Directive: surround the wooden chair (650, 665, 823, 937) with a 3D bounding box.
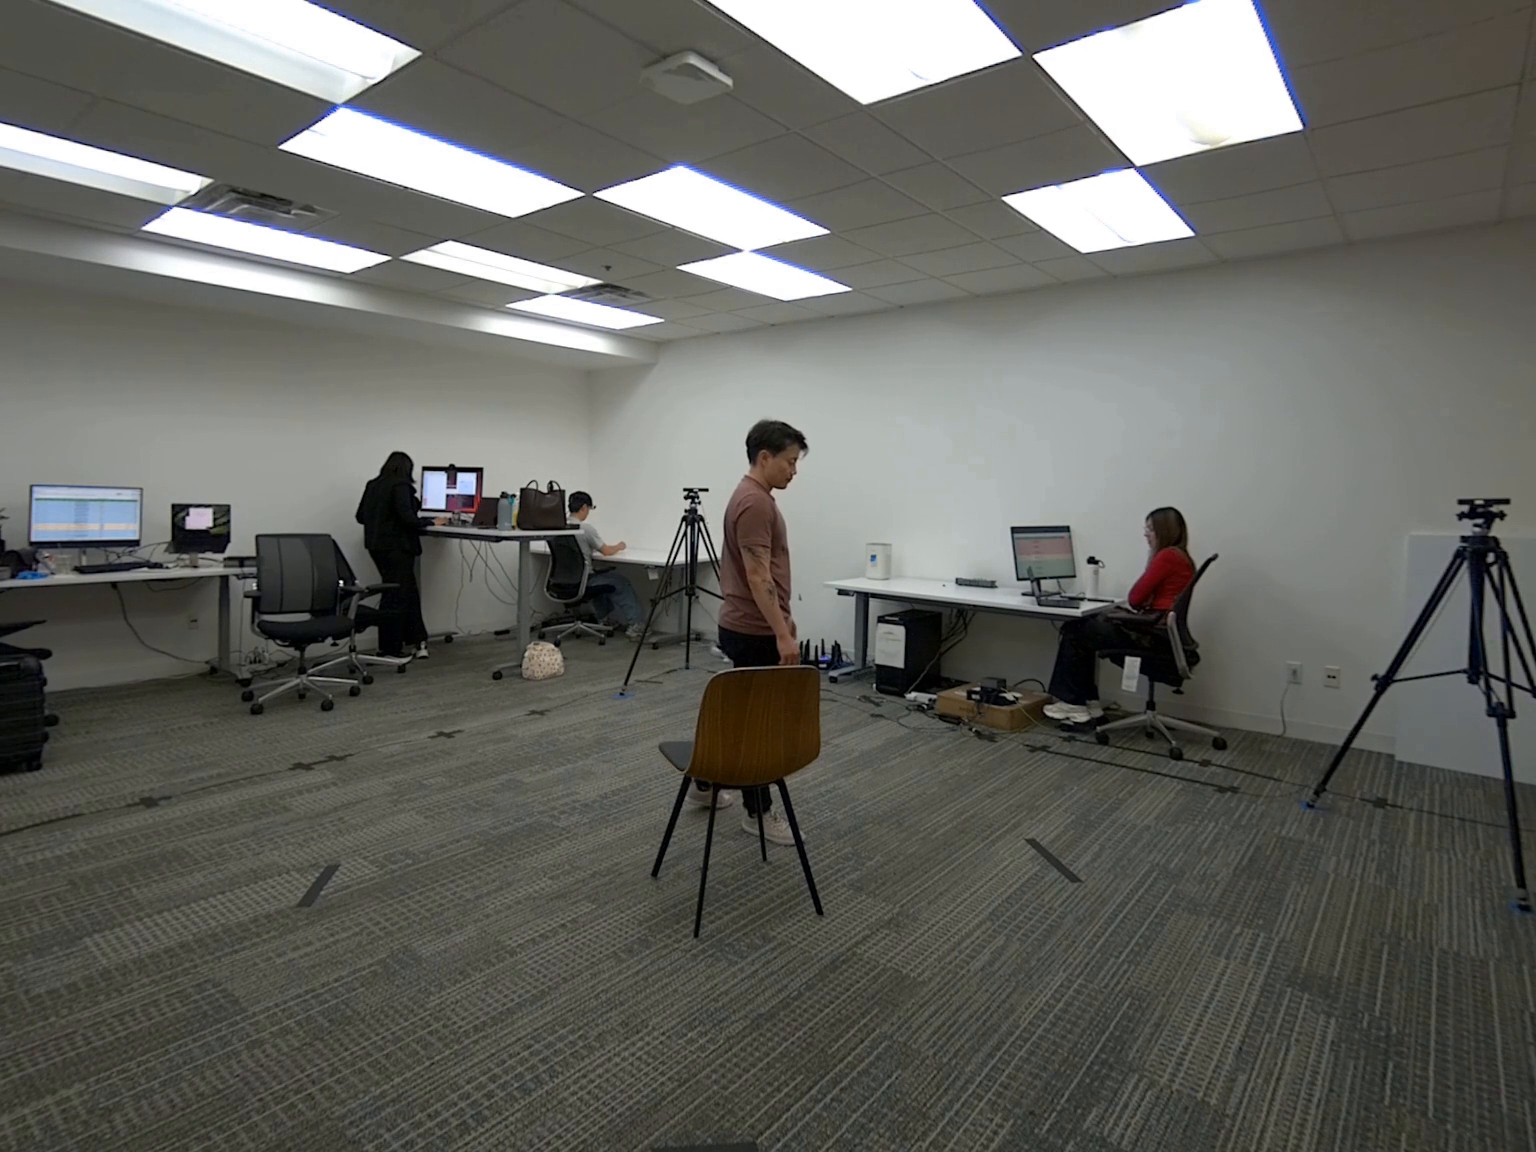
[{"bbox_3d":[-0.119,0.665,2.894,0.467,0.872,0.538,0,8,-23],"label":"wooden chair"}]
